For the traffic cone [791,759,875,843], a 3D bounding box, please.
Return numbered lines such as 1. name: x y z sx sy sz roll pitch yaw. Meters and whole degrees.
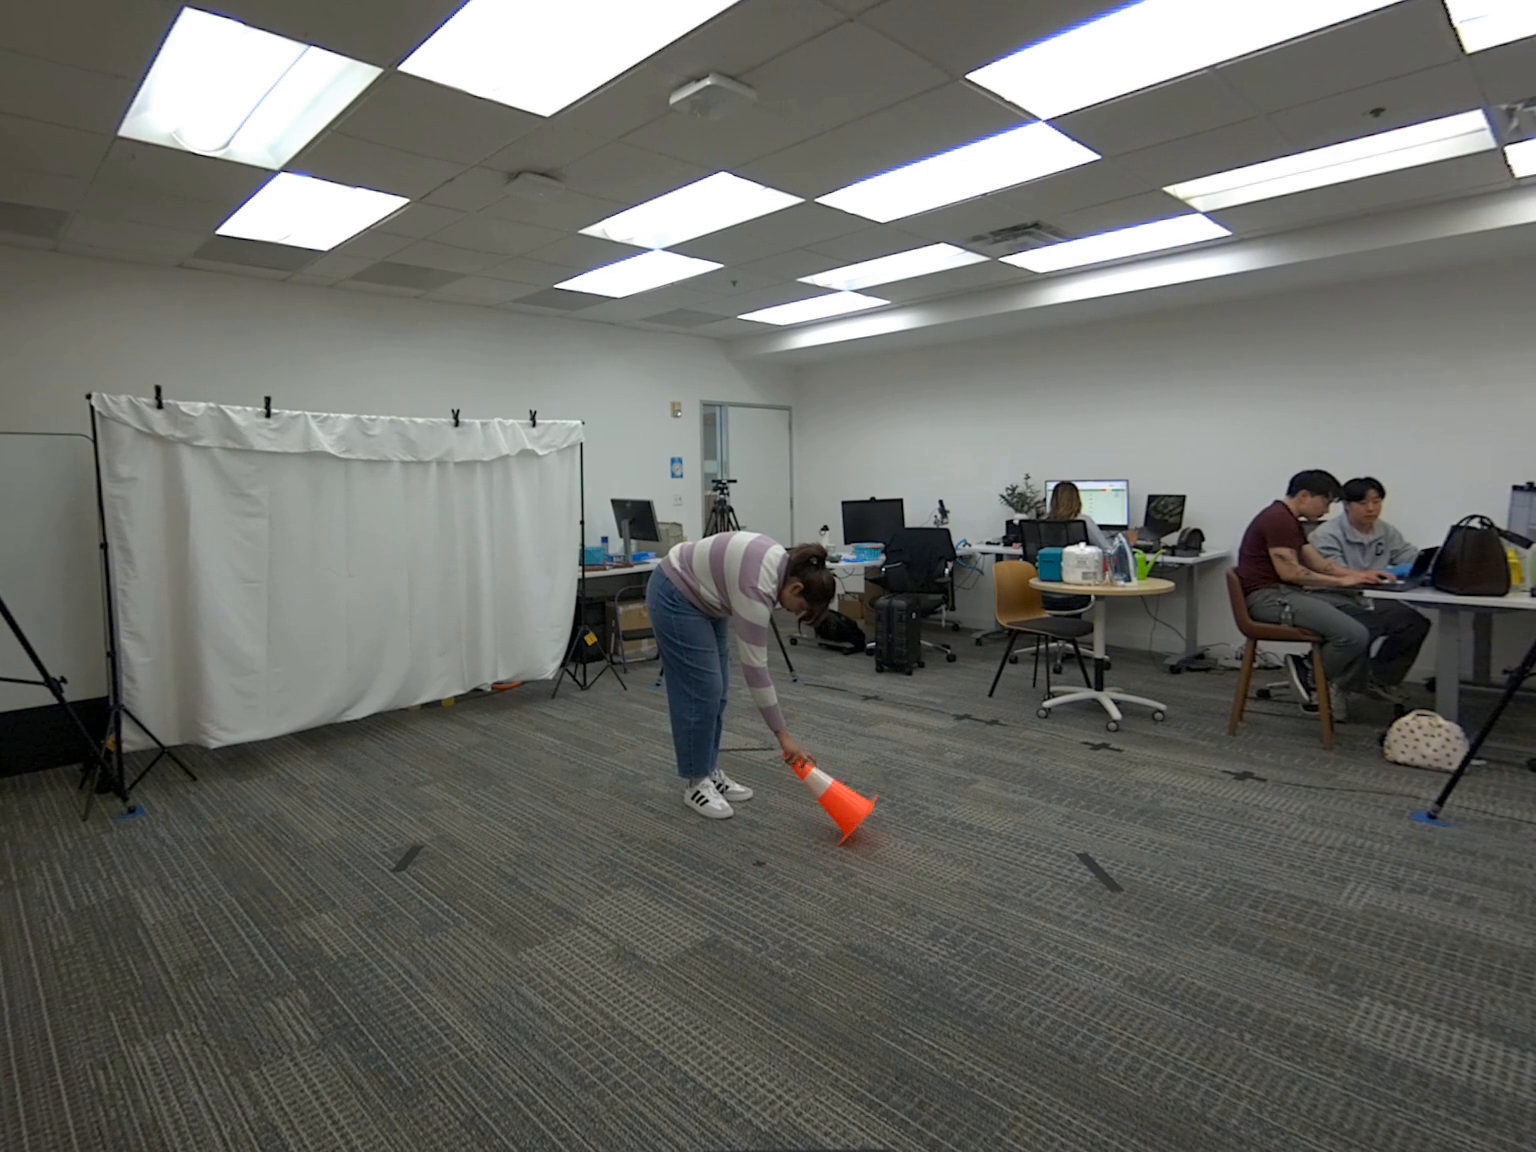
1. traffic cone: 0.205 0.816 3.345 0.390 0.204 0.201 40 21 11
